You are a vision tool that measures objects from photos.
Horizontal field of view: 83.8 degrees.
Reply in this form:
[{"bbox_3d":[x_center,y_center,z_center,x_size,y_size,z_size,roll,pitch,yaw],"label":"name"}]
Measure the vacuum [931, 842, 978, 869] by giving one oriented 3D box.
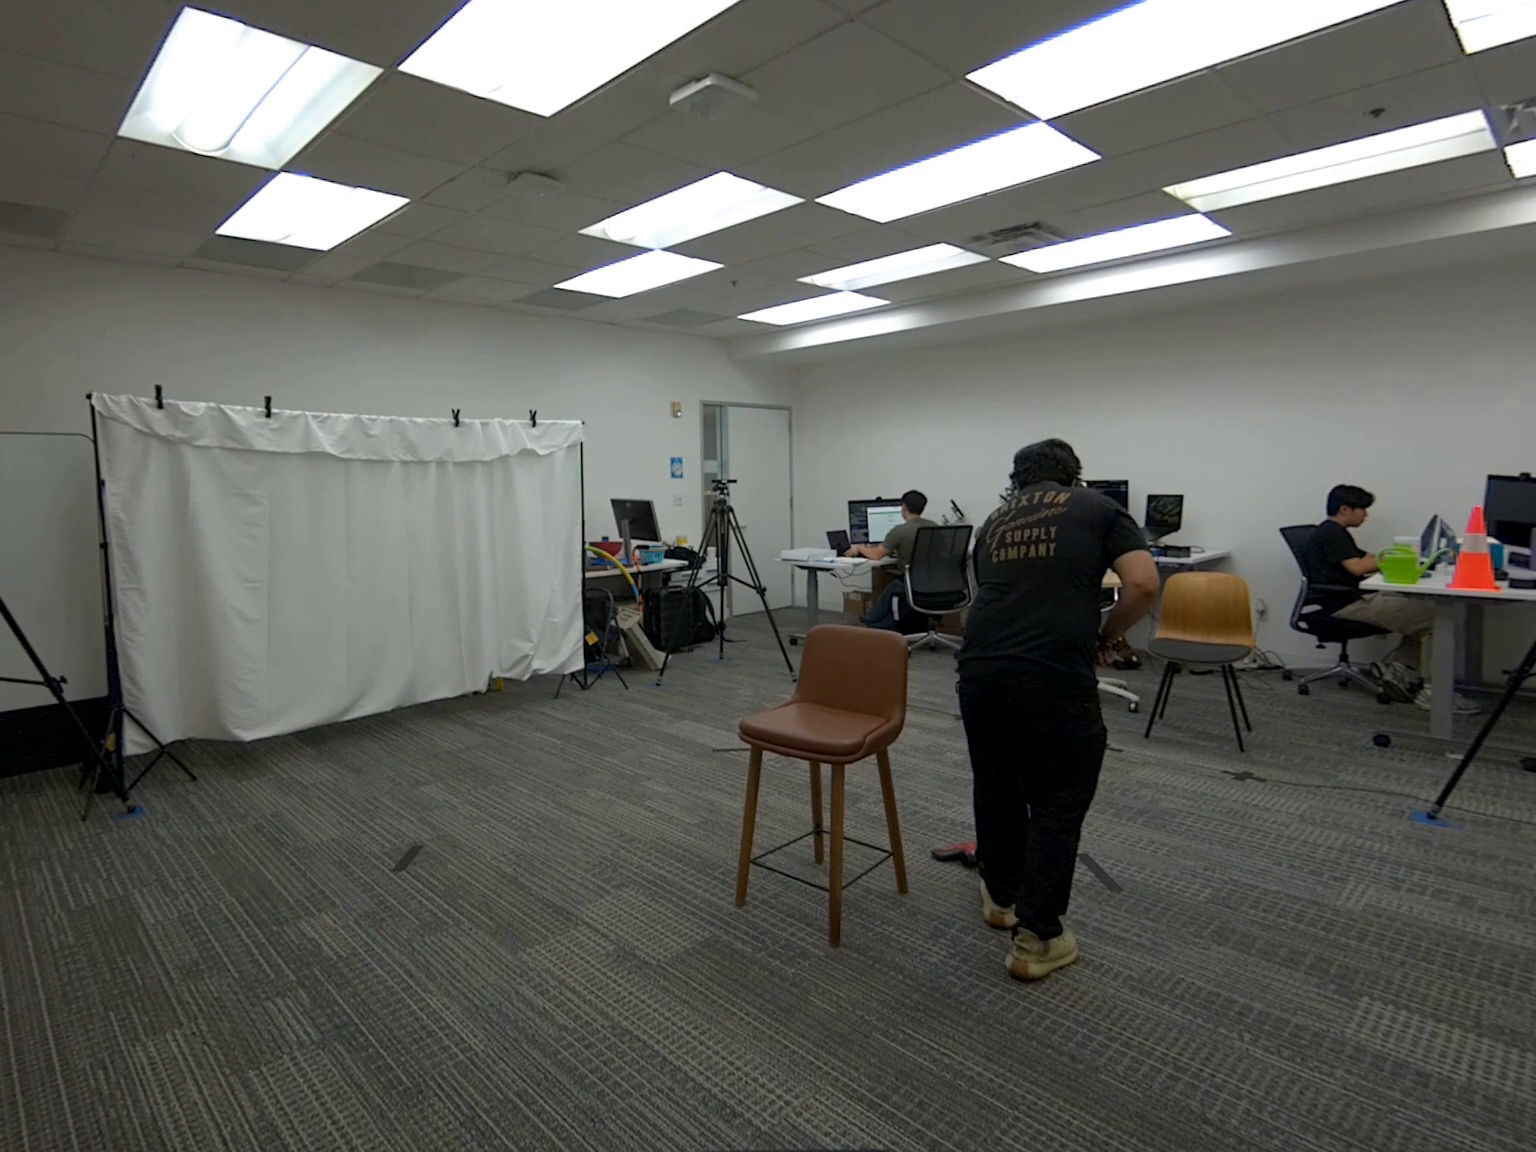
[{"bbox_3d":[0.852,0.634,2.833,0.247,1.030,0.149,-7,42,-26],"label":"vacuum"}]
